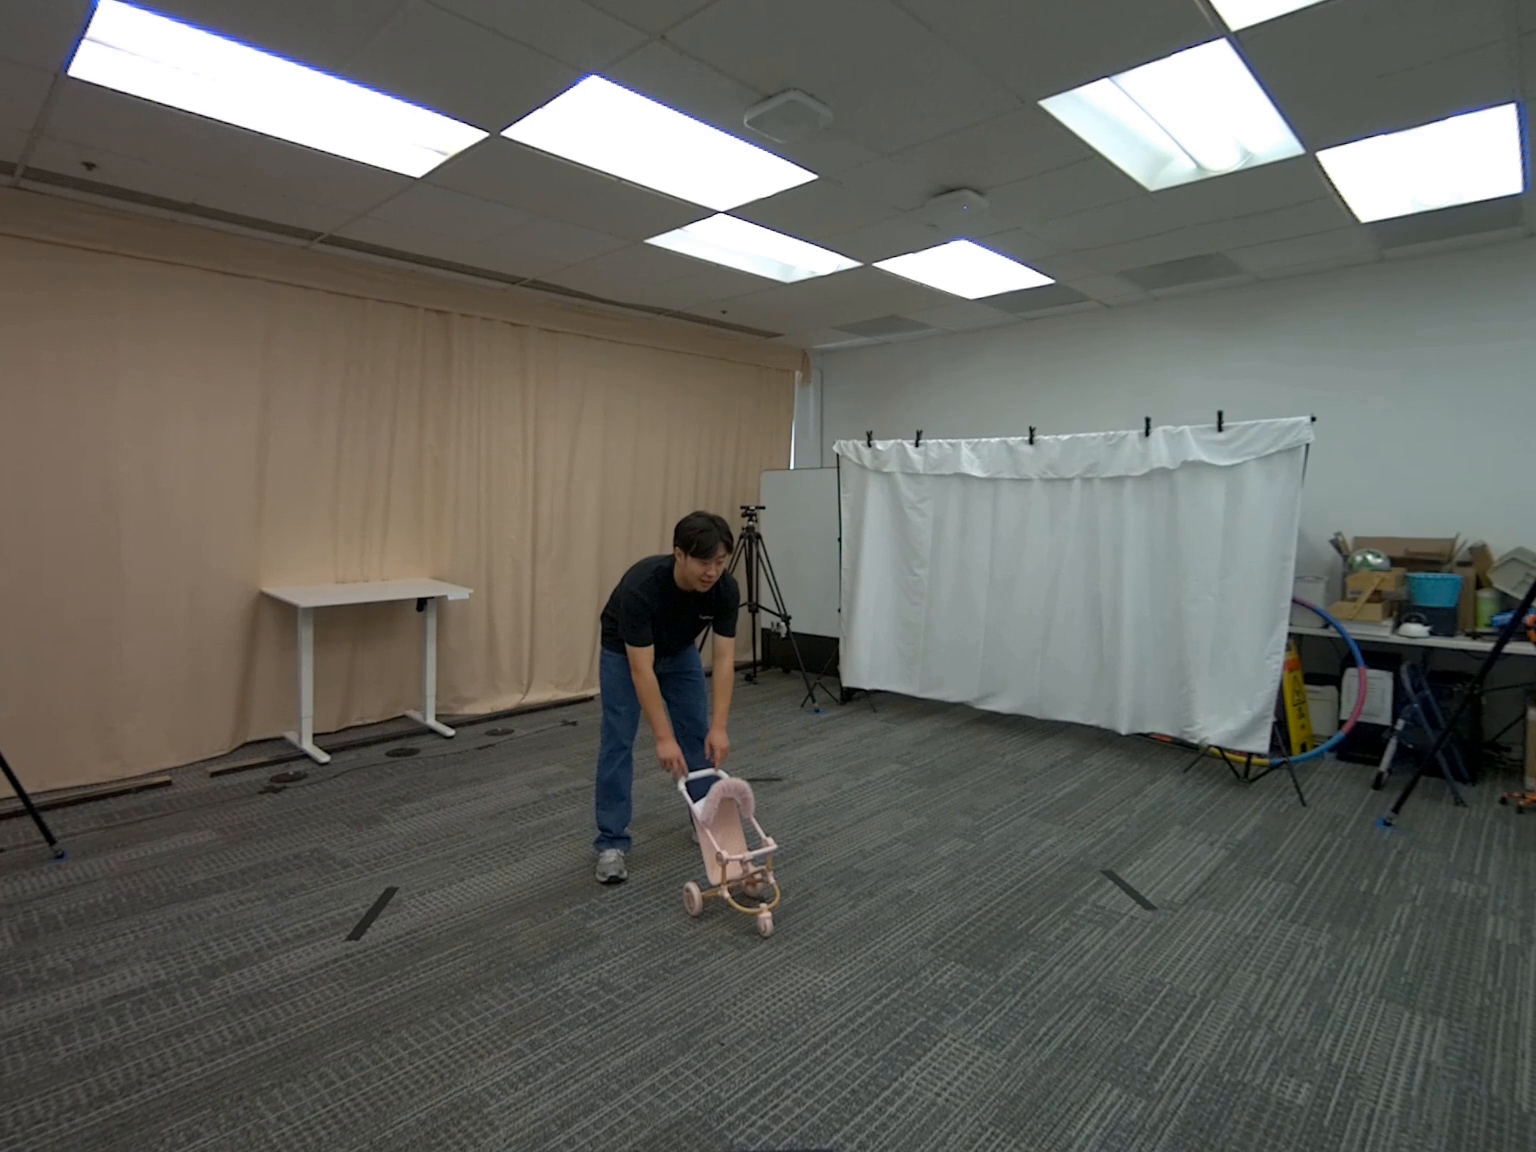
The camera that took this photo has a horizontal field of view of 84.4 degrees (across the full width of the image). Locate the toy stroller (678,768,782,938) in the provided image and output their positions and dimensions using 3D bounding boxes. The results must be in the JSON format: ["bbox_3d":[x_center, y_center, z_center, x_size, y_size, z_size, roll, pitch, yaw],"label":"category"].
[{"bbox_3d":[-0.119,0.928,2.872,0.274,0.540,0.347,-2,-13,-30],"label":"toy stroller"}]
